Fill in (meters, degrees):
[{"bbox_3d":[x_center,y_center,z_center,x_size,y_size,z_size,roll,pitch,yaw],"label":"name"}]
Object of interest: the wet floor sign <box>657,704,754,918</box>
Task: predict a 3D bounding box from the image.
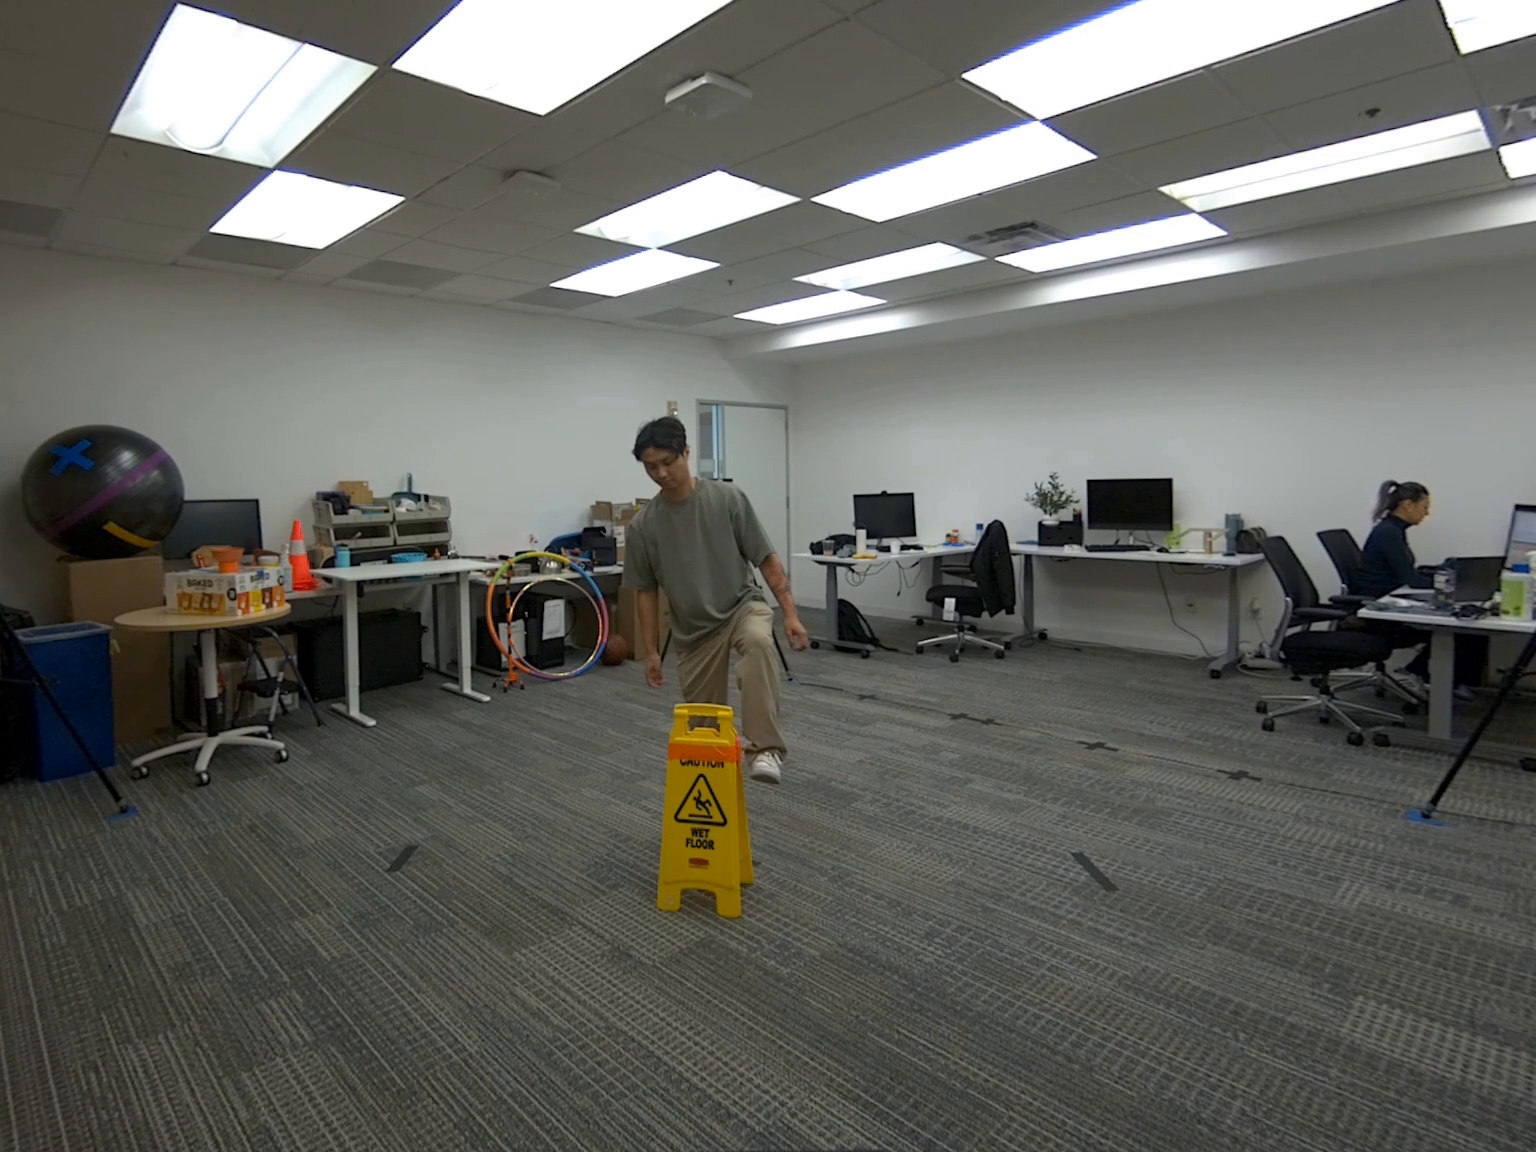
[{"bbox_3d":[-0.207,0.758,2.843,0.285,0.642,0.288,-1,6,11],"label":"wet floor sign"}]
